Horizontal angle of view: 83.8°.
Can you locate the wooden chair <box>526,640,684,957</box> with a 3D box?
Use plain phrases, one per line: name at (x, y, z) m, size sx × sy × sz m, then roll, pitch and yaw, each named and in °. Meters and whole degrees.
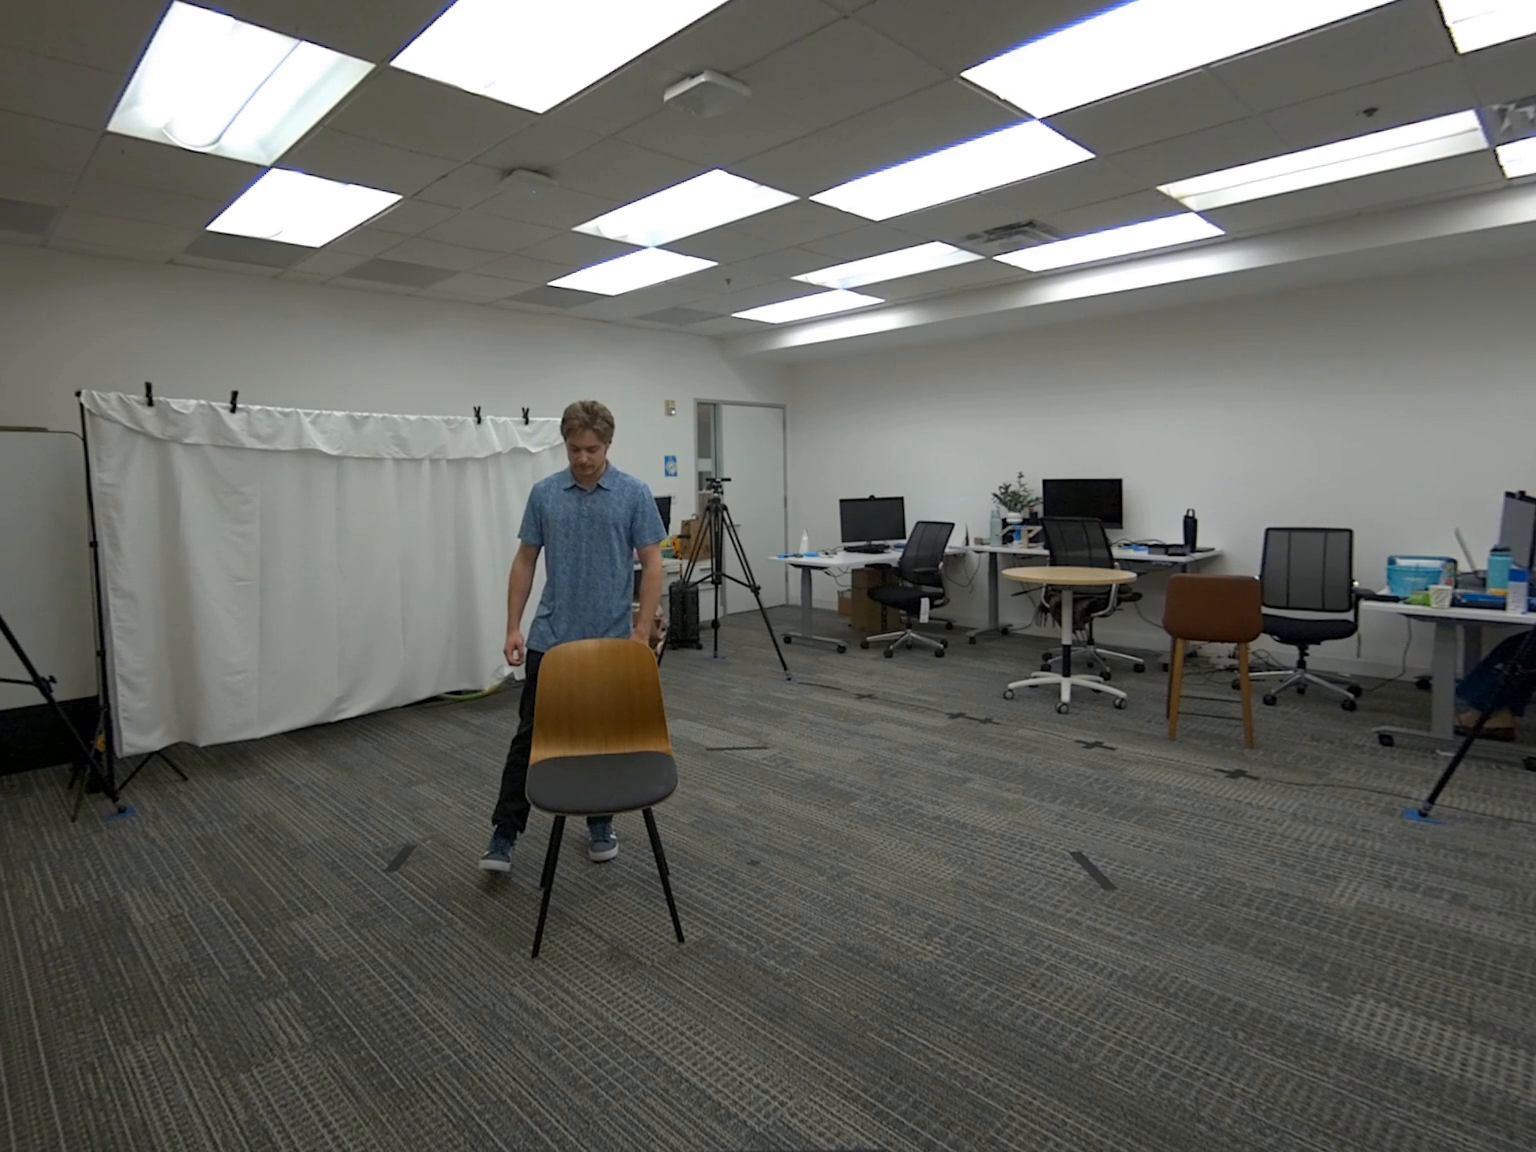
wooden chair at (-0.515, 0.665, 2.719) m, size 0.473 × 0.877 × 0.529 m, roll -1°, pitch 0°, yaw -12°
